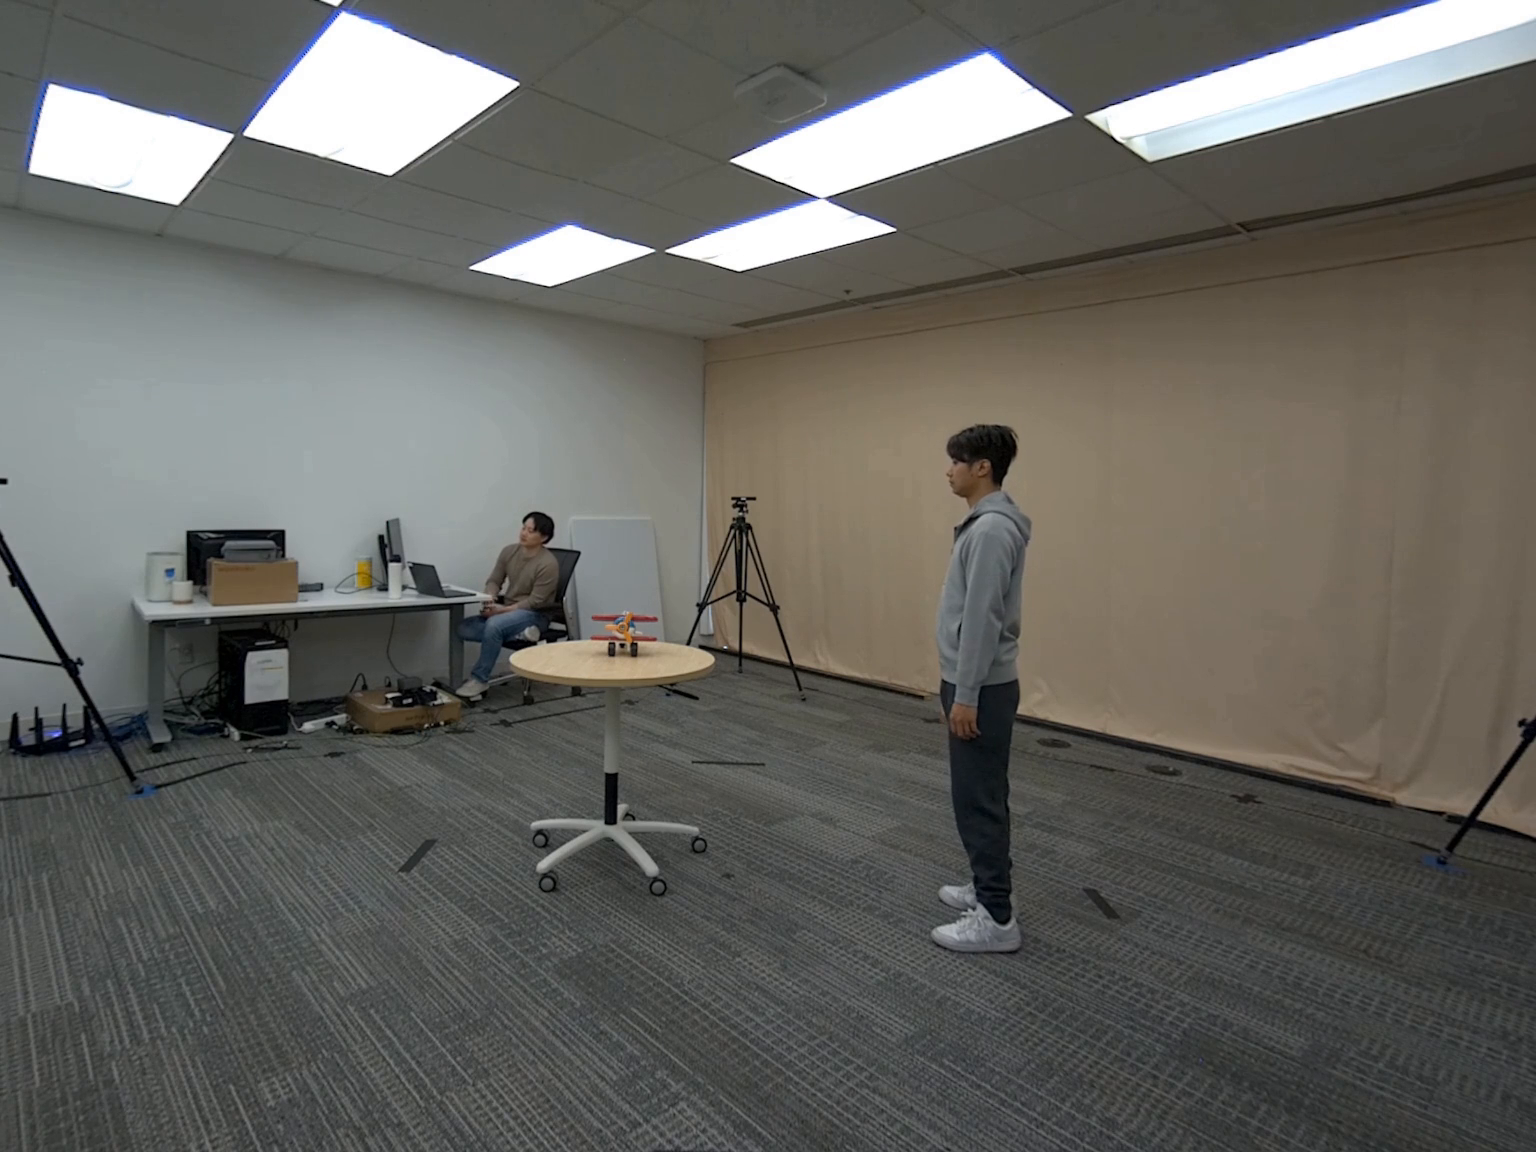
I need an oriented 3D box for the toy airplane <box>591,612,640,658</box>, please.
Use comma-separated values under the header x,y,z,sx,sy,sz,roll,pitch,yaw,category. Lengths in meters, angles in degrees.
x,y,z,sx,sy,sz,roll,pitch,yaw,category
-0.580,0.222,3.295,0.246,0.156,0.265,0,6,-29,toy airplane
